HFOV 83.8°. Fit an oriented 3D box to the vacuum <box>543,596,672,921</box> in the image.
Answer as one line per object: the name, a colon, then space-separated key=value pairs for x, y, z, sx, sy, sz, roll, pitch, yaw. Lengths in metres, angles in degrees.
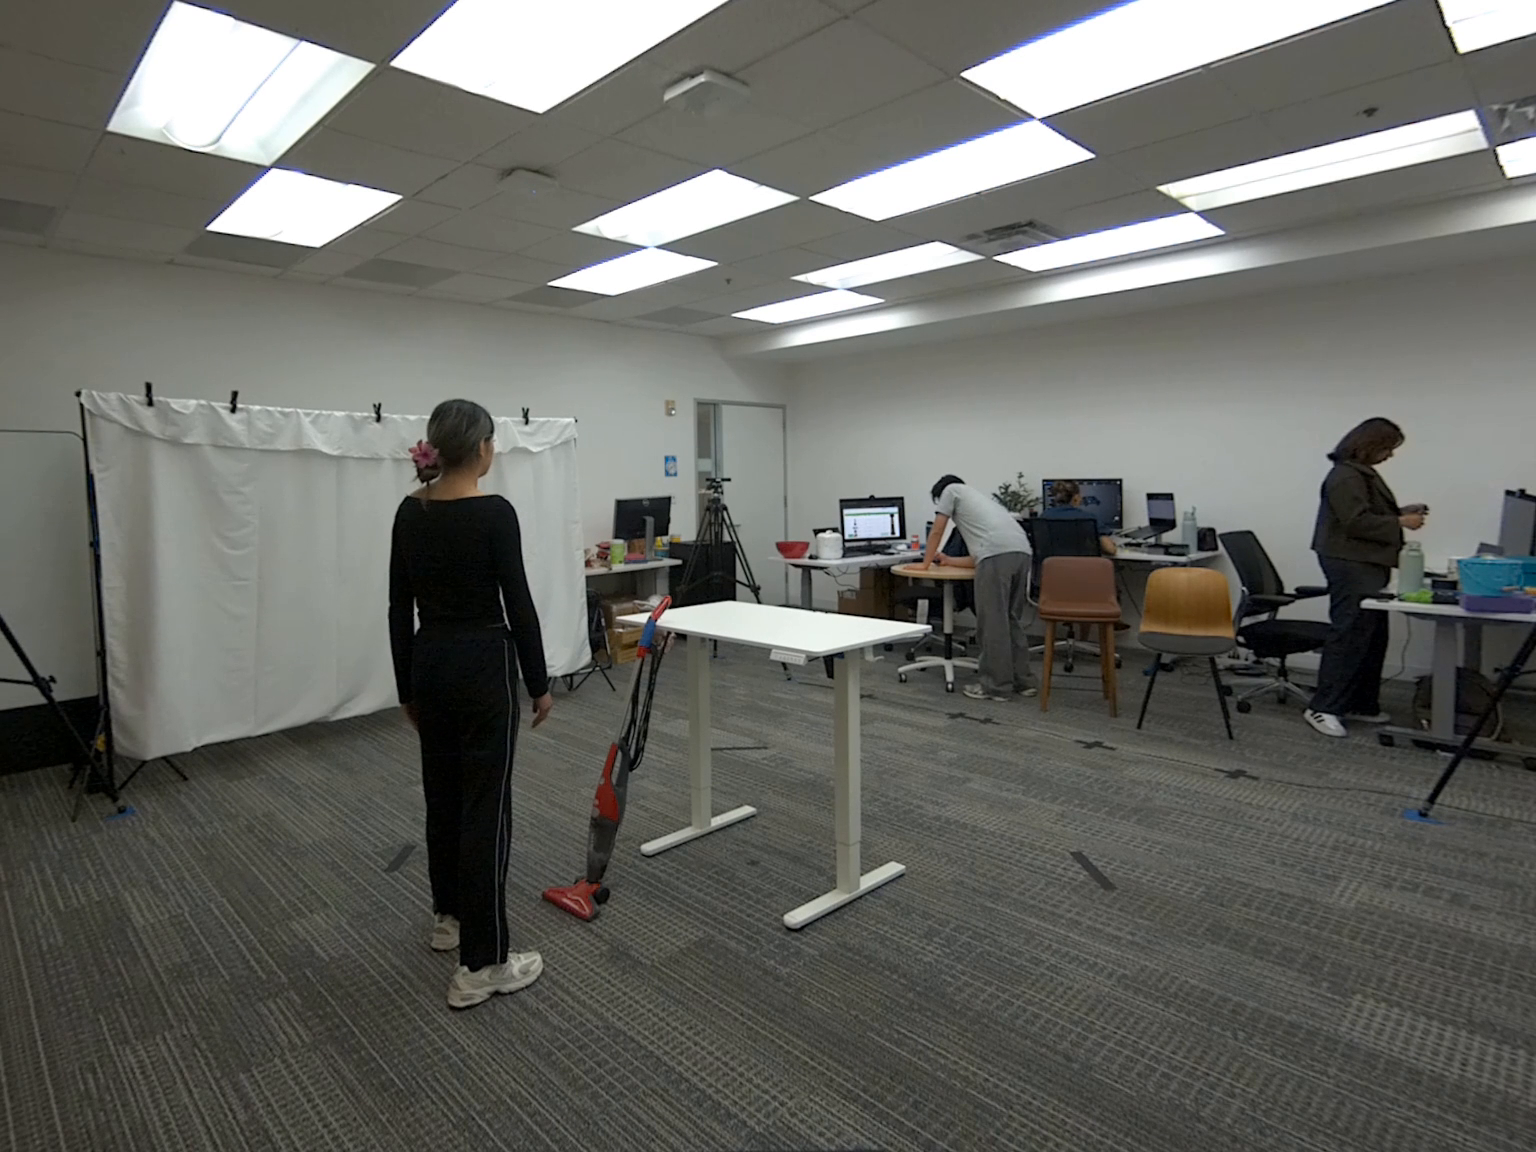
vacuum: x=-0.498 y=0.587 z=2.959 sx=0.260 sy=1.059 sz=0.138 roll=0 pitch=-20 yaw=44
